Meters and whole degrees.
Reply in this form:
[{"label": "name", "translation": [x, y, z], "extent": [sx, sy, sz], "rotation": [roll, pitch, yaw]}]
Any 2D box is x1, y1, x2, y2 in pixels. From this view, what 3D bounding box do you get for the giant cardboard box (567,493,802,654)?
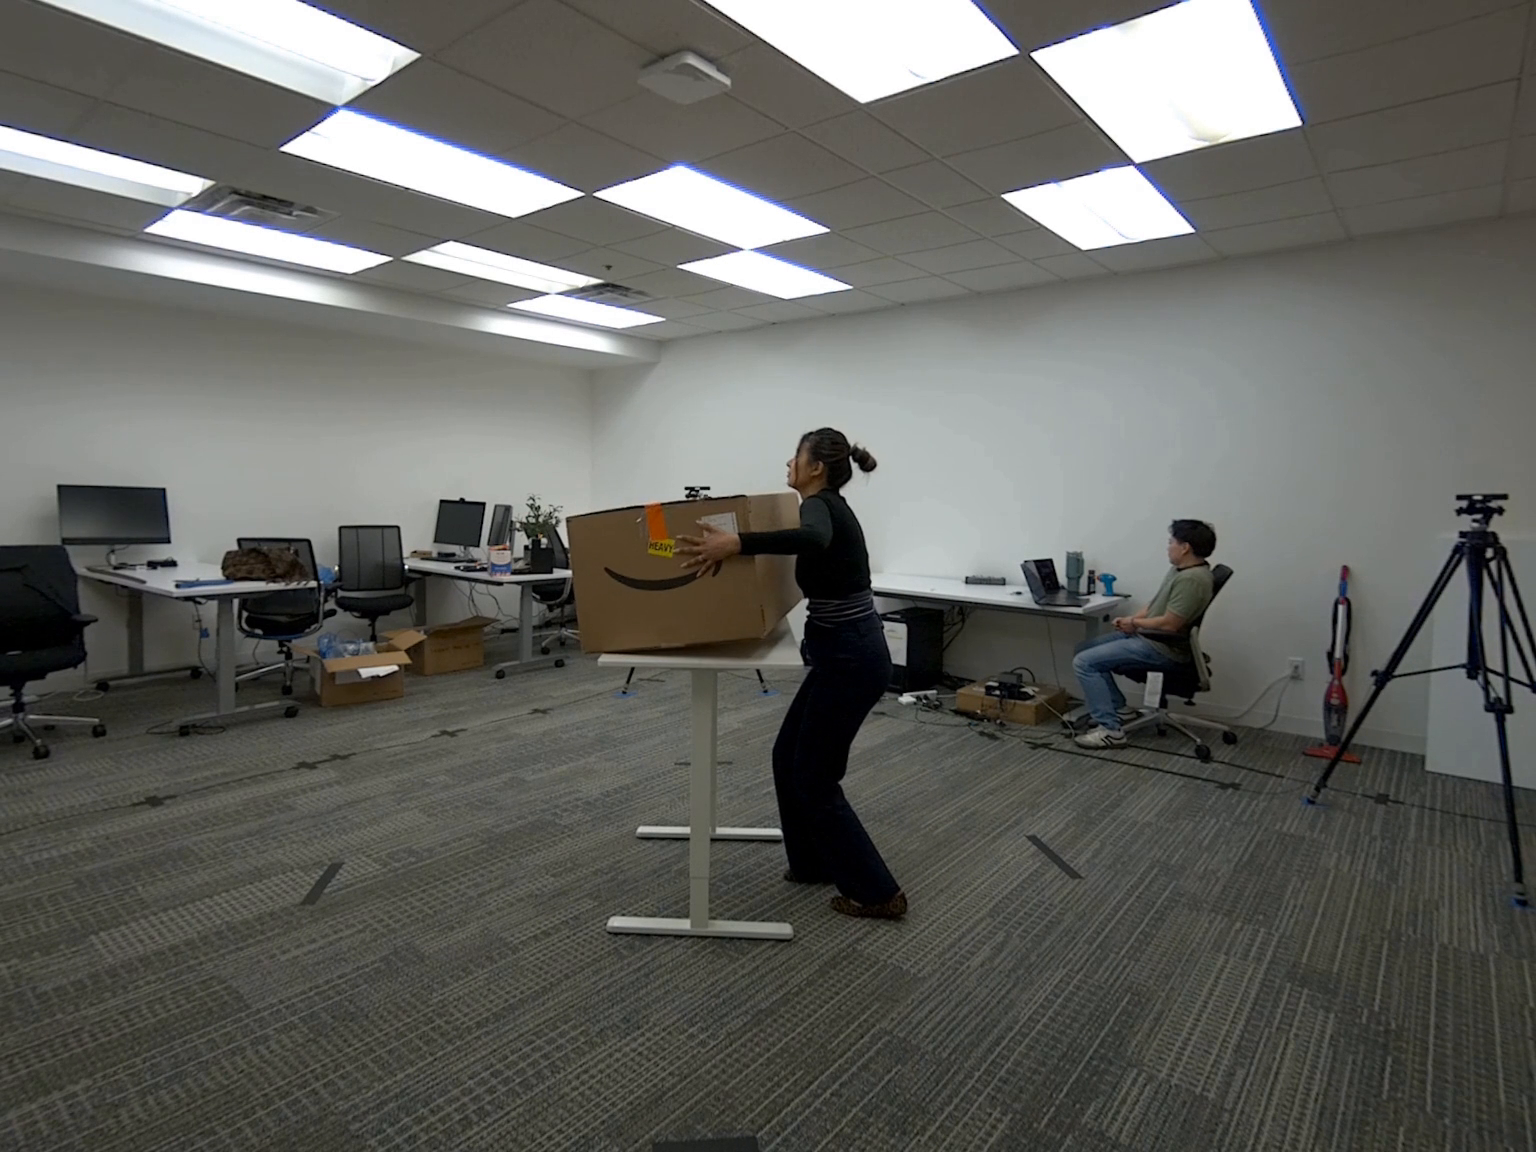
[{"label": "giant cardboard box", "translation": [-0.235, -0.058, 3.019], "extent": [0.584, 0.425, 1.017], "rotation": [-6, 5, 12]}]
